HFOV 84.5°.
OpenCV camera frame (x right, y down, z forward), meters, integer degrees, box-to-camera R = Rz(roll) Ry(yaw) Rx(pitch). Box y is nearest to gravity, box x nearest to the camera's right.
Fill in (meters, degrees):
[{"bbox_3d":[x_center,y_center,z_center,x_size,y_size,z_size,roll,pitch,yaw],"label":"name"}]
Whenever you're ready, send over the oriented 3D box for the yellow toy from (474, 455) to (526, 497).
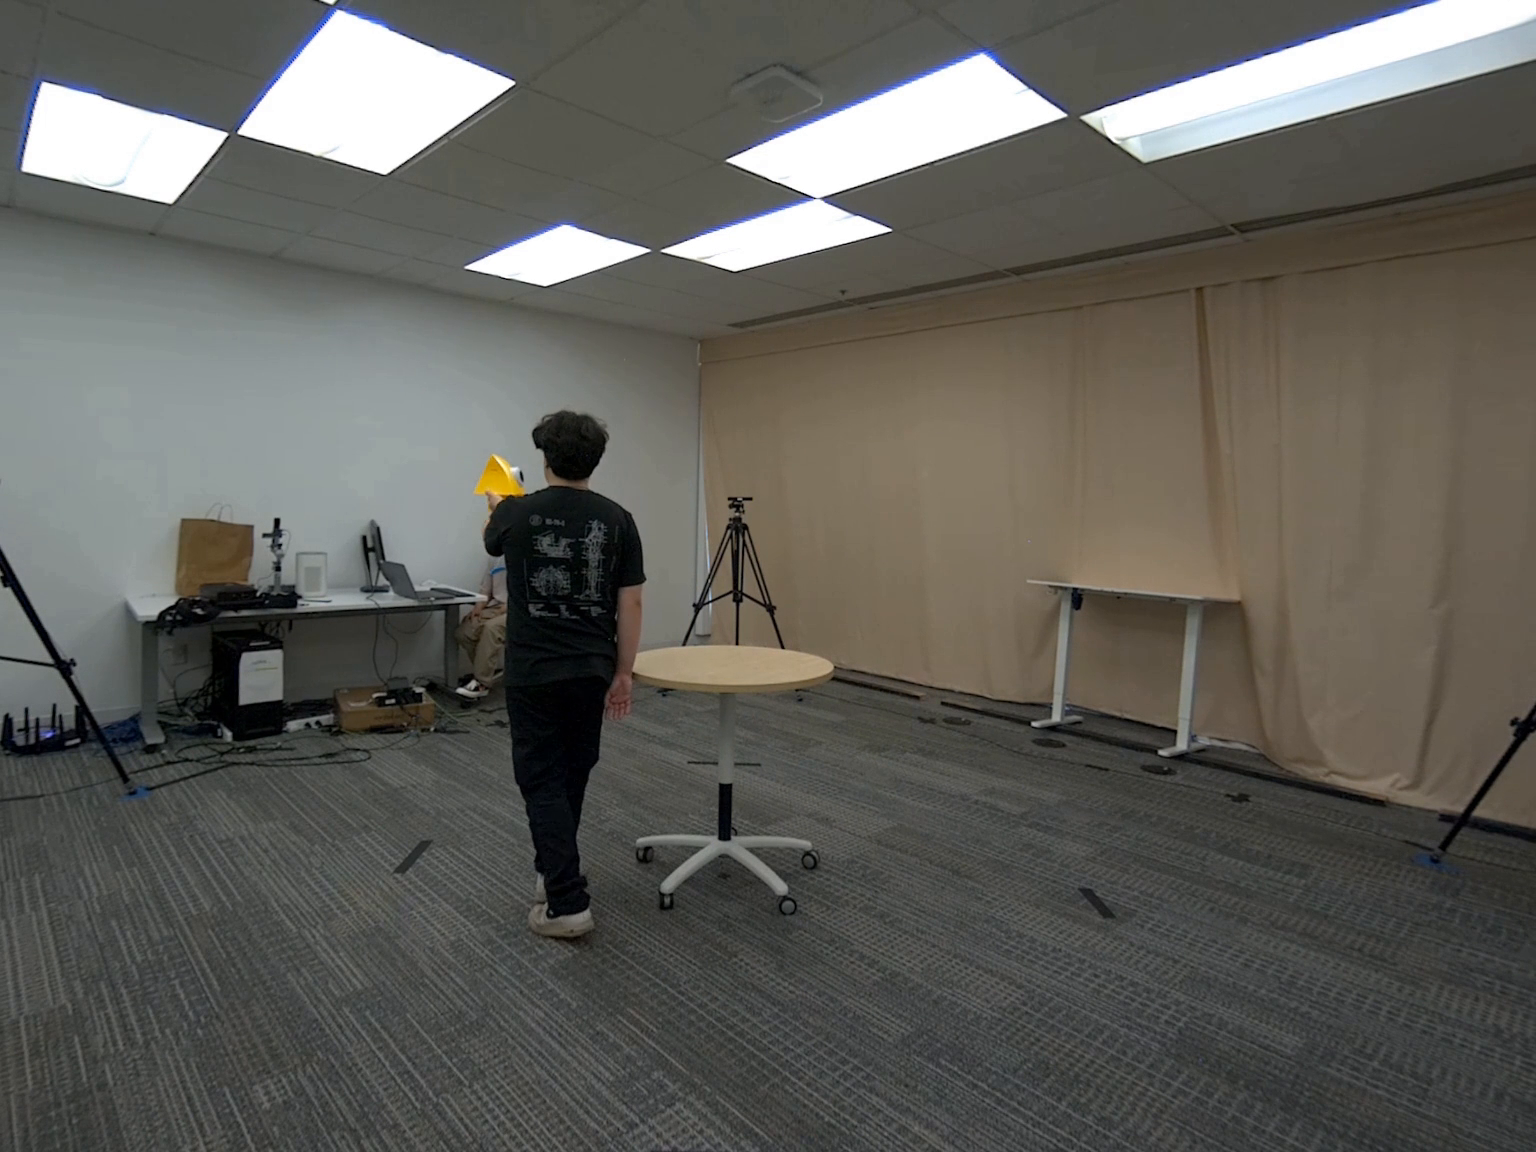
[{"bbox_3d":[-1.035,-0.378,3.314,0.209,0.228,0.191,3,18,28],"label":"yellow toy"}]
